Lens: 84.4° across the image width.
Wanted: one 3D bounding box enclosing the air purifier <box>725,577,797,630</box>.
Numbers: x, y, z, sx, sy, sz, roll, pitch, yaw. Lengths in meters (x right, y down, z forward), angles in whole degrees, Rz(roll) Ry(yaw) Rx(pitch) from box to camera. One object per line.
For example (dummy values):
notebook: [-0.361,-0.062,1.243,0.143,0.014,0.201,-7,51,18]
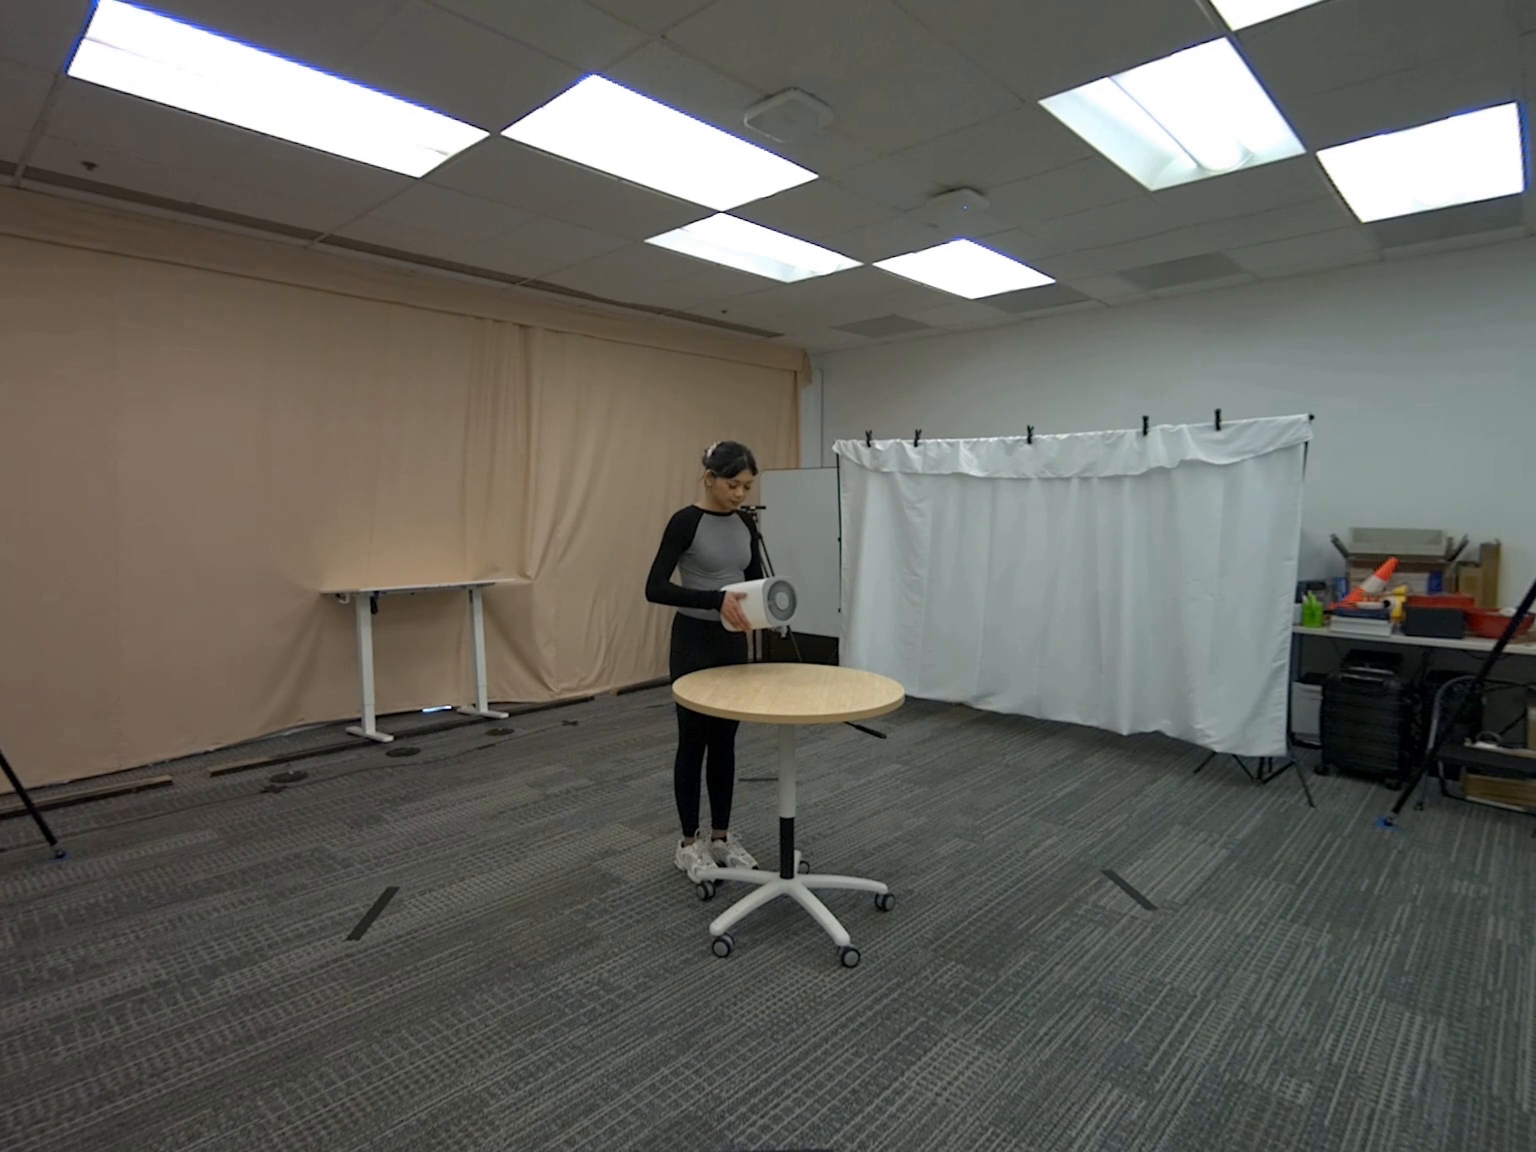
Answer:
air purifier: [-0.034,0.099,2.989,0.166,0.171,0.272,-5,-3,-39]
